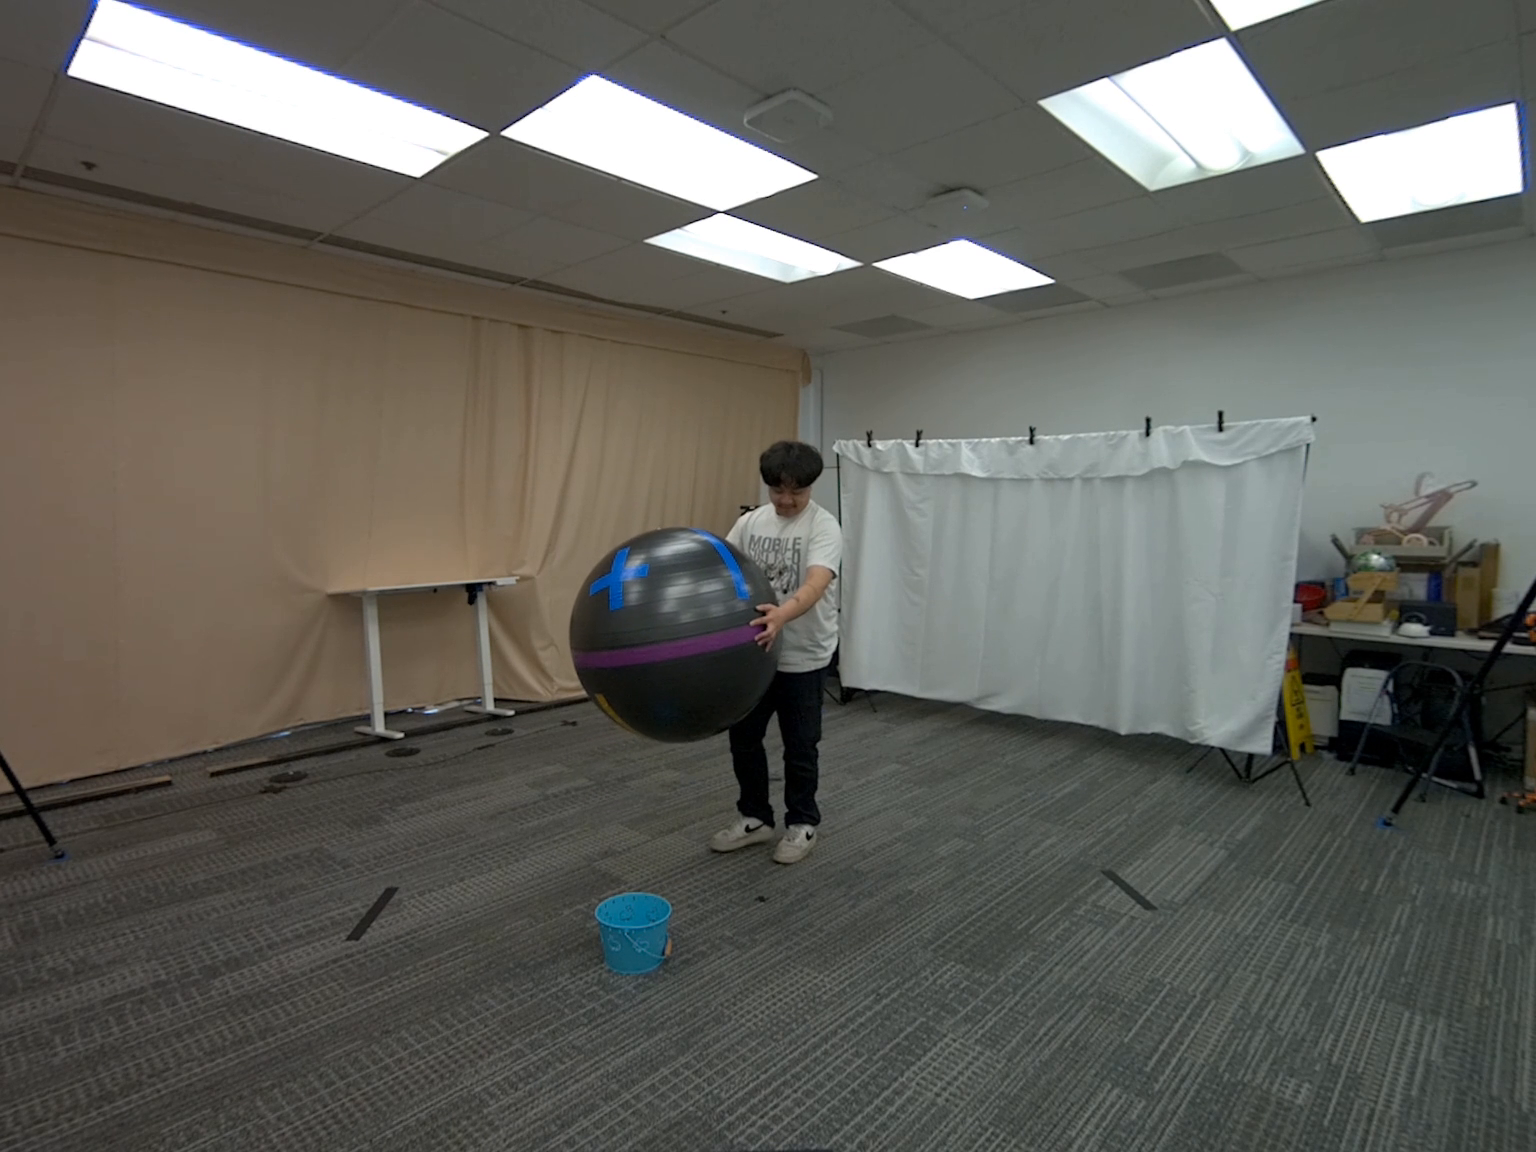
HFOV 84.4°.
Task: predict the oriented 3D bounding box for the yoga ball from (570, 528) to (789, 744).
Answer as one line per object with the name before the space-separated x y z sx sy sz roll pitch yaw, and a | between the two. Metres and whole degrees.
yoga ball | -0.341 0.212 3.020 0.757 0.756 0.760 0 4 -2
